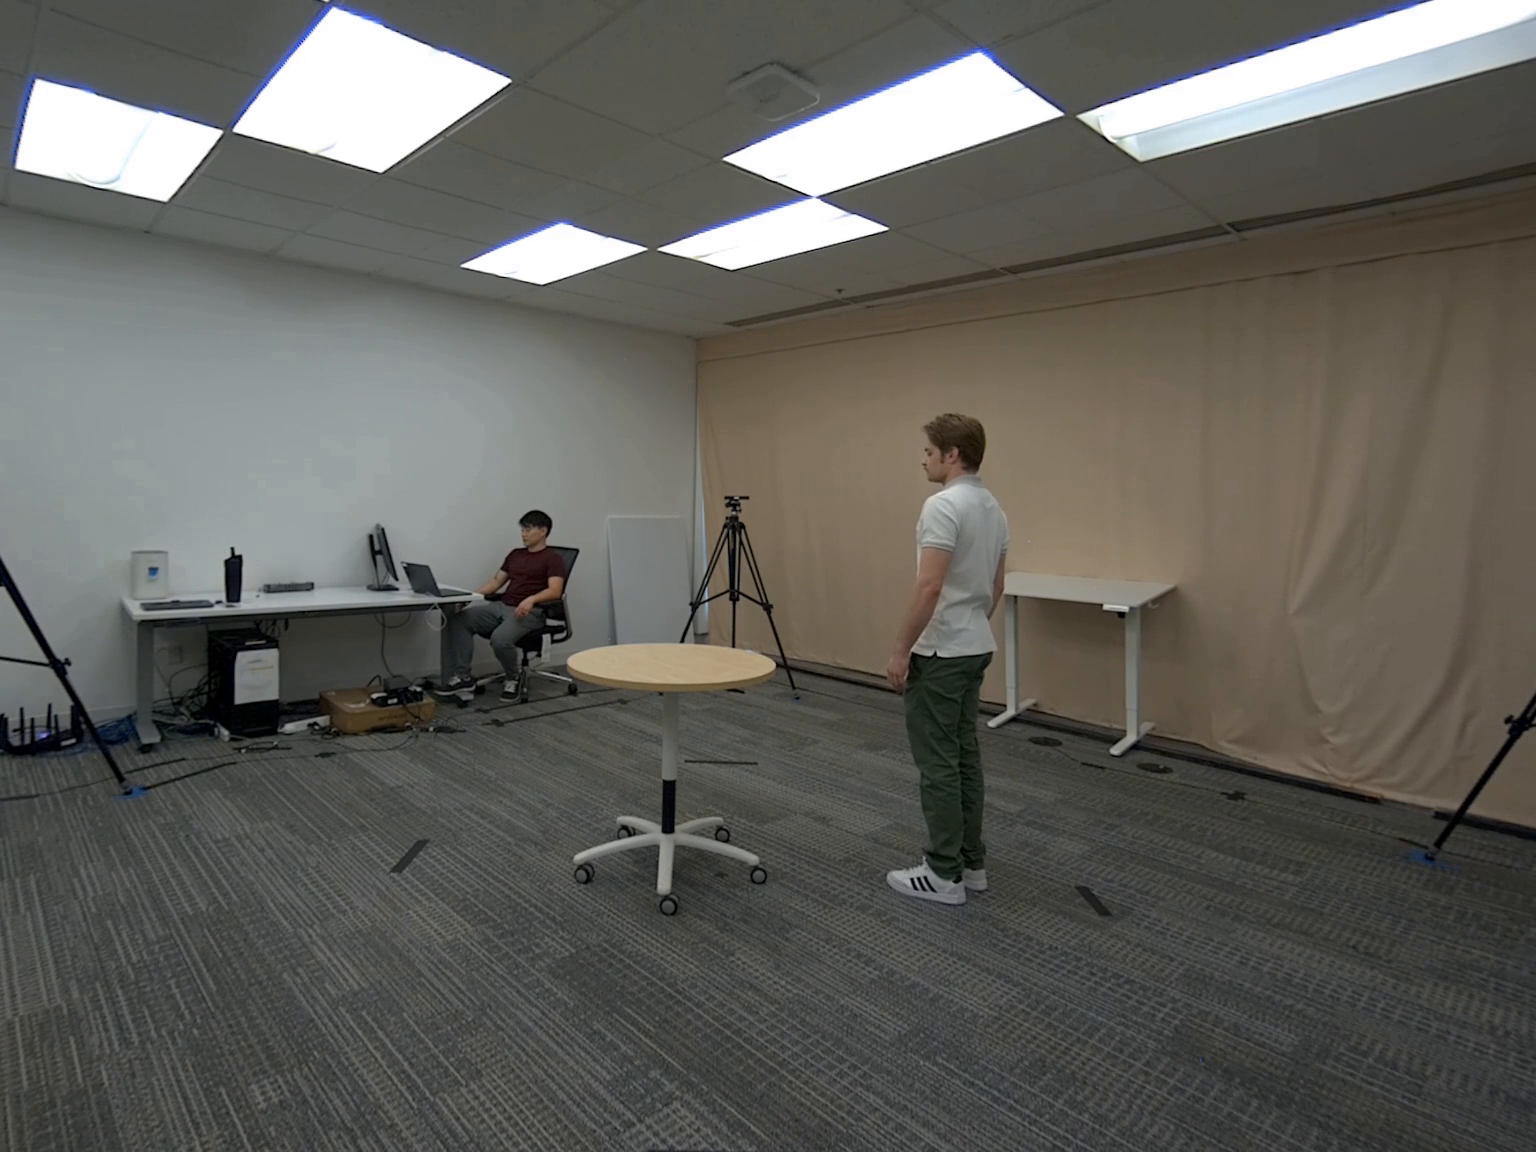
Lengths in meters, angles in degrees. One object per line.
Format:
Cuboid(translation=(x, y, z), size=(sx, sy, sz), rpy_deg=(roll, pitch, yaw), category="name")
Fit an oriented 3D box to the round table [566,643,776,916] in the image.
Cuboid(translation=(-0.366, 0.708, 3.122), size=(0.763, 0.792, 0.766), rpy_deg=(2, 4, -1), category="round table")
